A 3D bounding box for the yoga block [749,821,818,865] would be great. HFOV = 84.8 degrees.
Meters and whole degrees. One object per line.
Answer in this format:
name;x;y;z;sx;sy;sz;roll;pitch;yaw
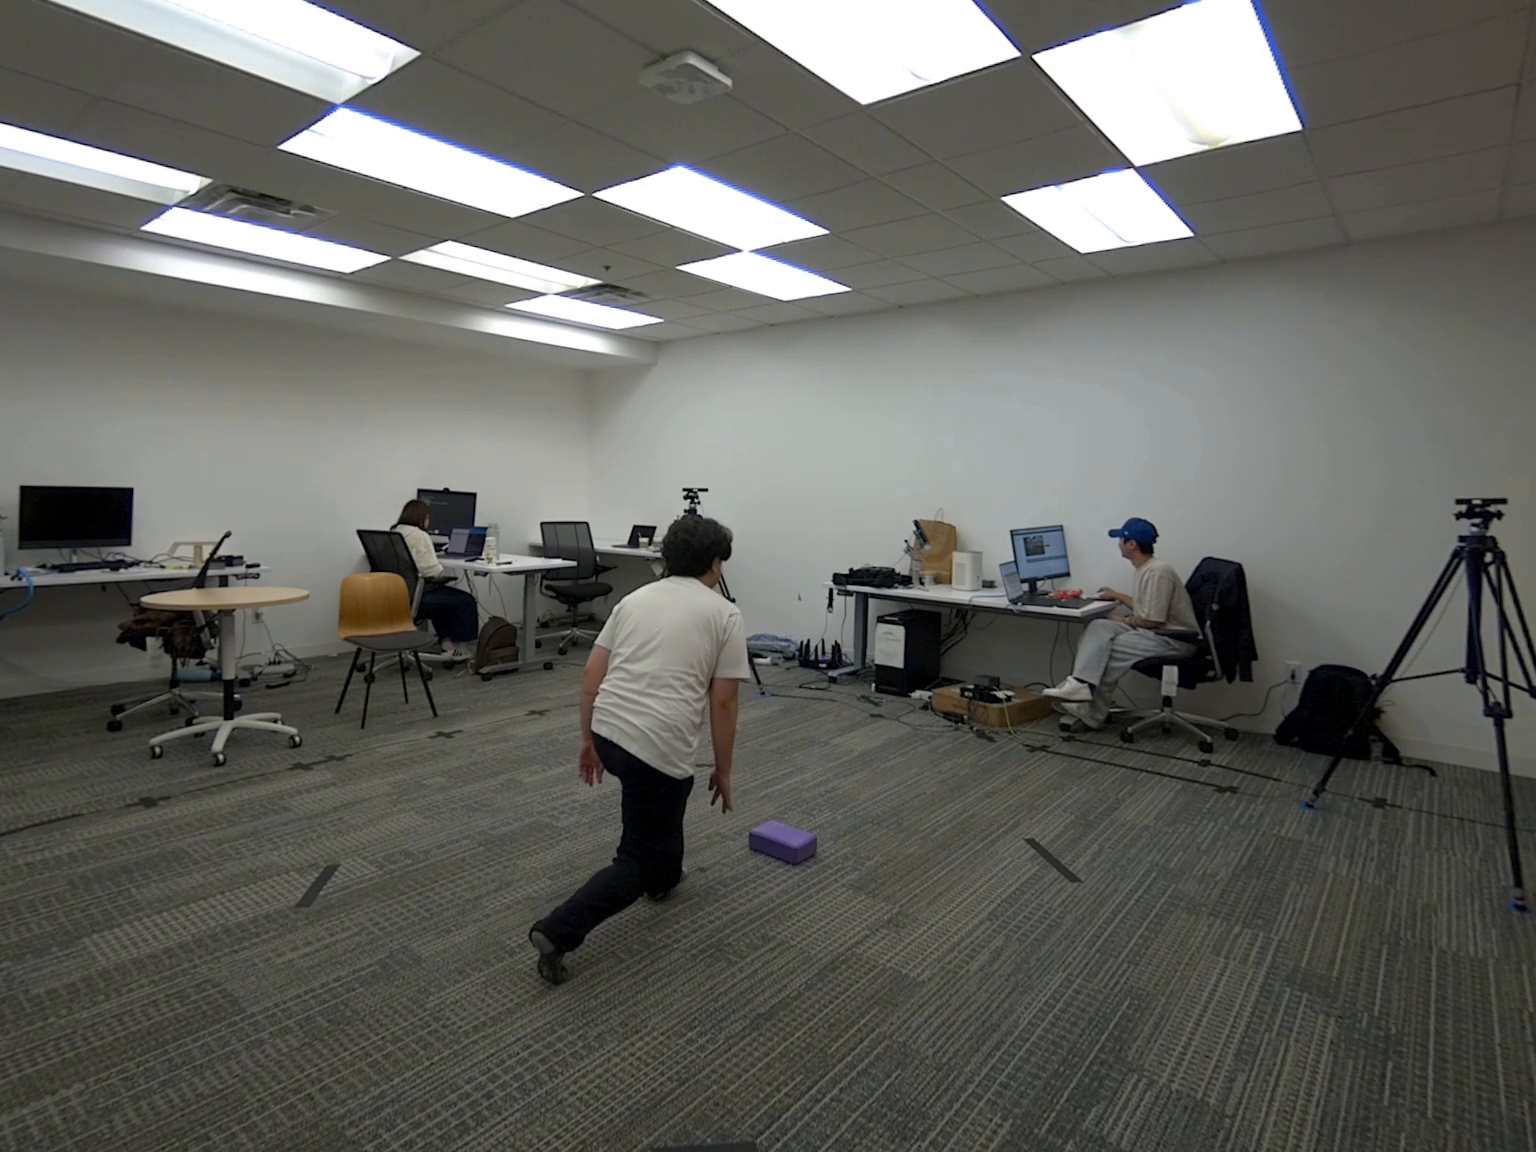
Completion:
yoga block;0.048;1.020;3.276;0.237;0.076;0.145;5;7;38
